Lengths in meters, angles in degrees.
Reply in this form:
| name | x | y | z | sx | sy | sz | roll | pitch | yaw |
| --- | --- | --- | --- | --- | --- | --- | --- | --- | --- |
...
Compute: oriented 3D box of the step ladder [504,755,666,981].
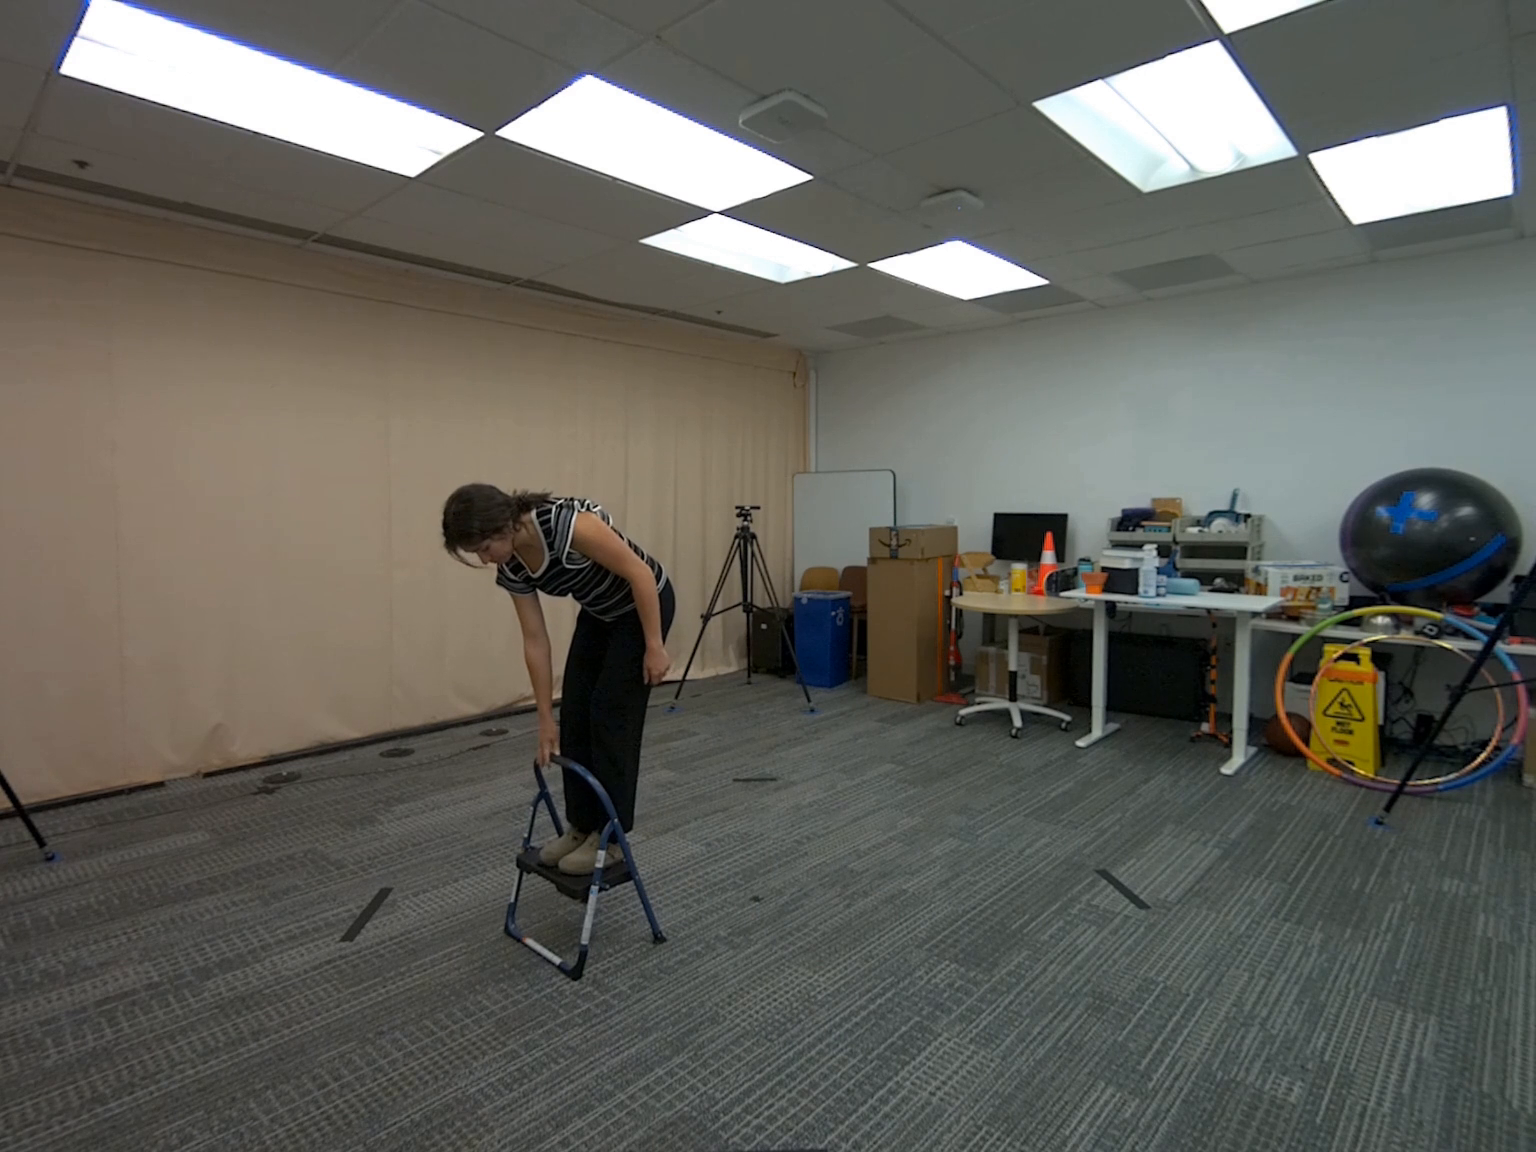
| name | x | y | z | sx | sy | sz | roll | pitch | yaw |
| --- | --- | --- | --- | --- | --- | --- | --- | --- | --- |
| step ladder | -0.601 | 0.869 | 2.716 | 0.445 | 0.605 | 0.338 | 3 | 4 | 43 |
